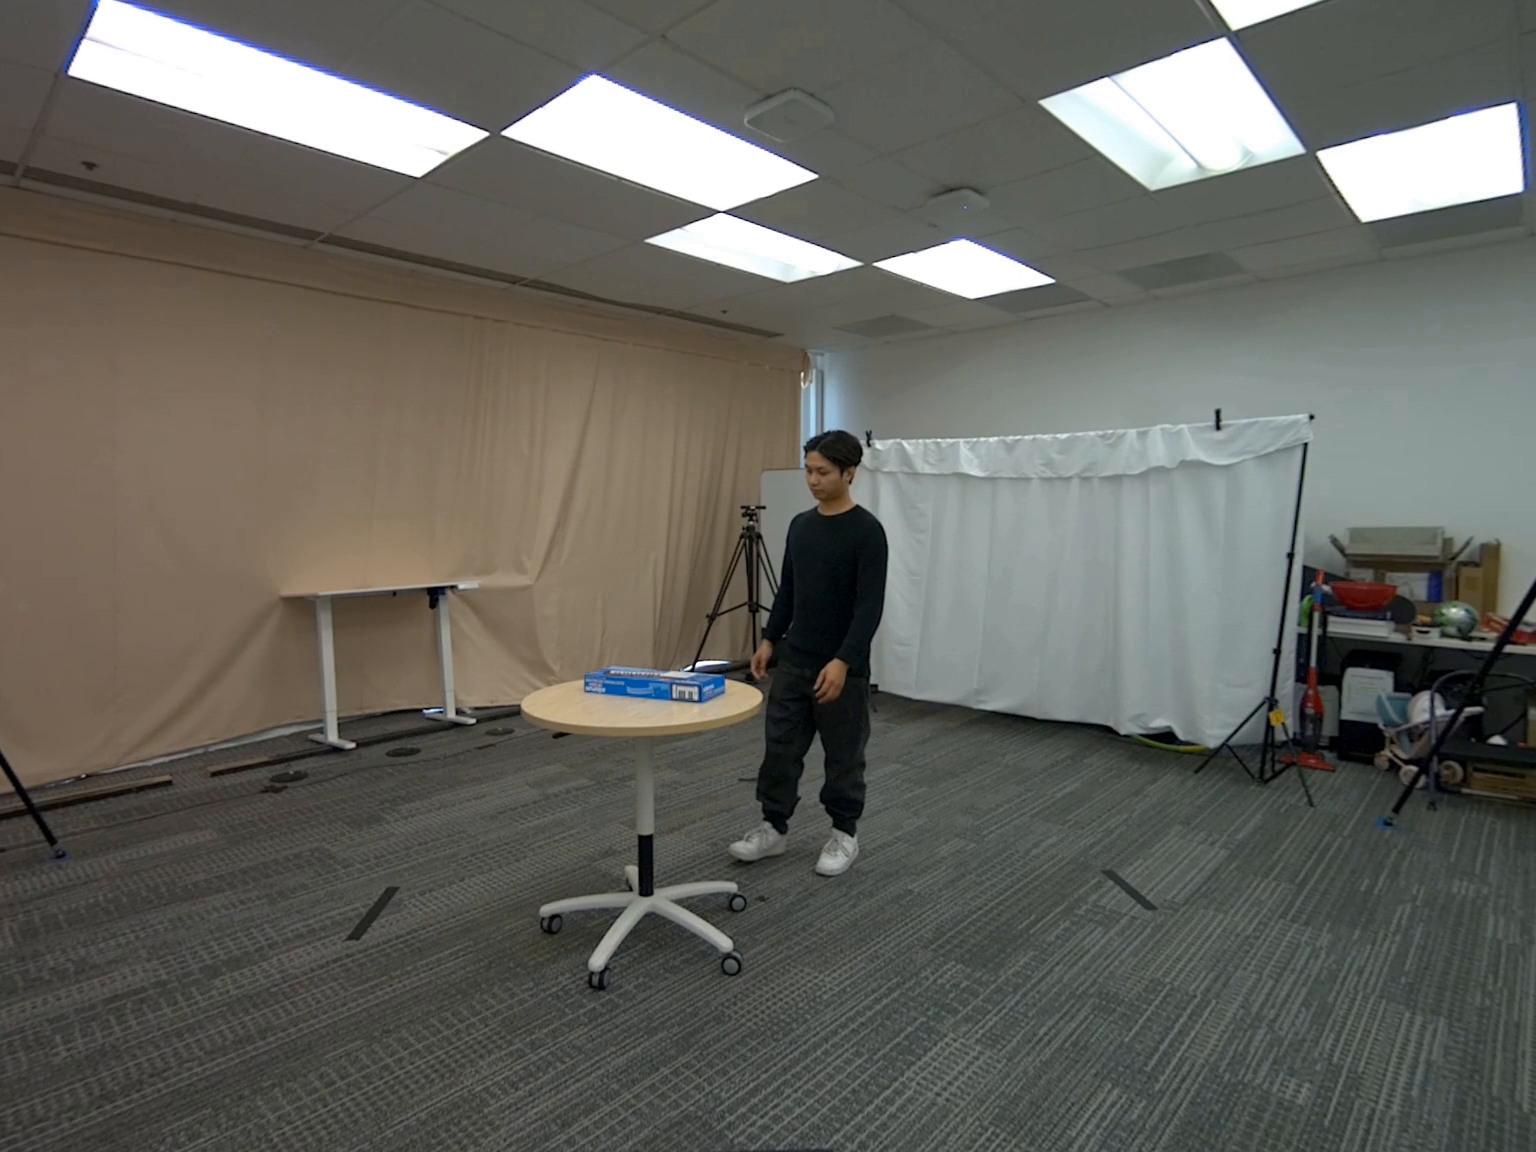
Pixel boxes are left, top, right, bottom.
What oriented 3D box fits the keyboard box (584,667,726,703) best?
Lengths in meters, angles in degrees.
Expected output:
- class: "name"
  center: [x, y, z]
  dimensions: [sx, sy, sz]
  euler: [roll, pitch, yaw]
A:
- class: "keyboard box"
  center: [-0.370, 0.351, 2.762]
  dimensions: [0.448, 0.059, 0.172]
  euler: [2, 5, 24]
